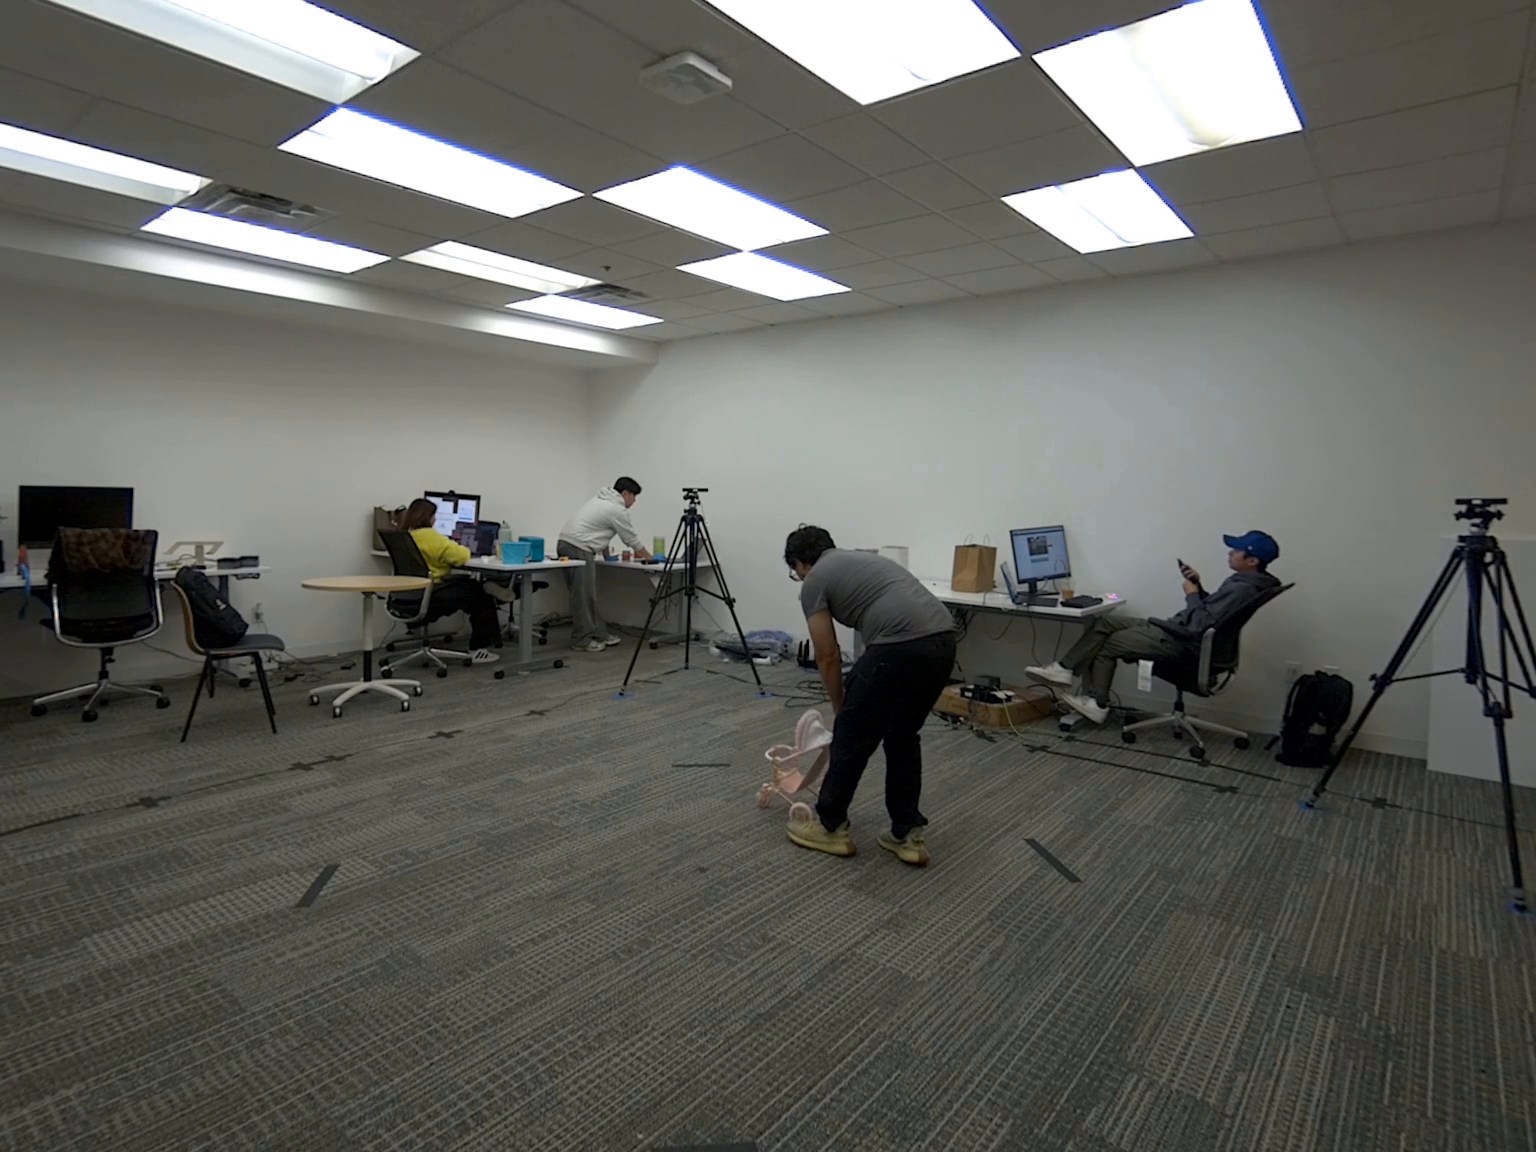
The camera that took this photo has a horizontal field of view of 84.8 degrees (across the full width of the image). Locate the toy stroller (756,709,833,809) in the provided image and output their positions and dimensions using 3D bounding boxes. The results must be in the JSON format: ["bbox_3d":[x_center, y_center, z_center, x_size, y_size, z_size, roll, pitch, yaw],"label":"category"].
[{"bbox_3d":[0.140,0.802,3.634,0.354,0.531,0.273,24,15,32],"label":"toy stroller"}]
